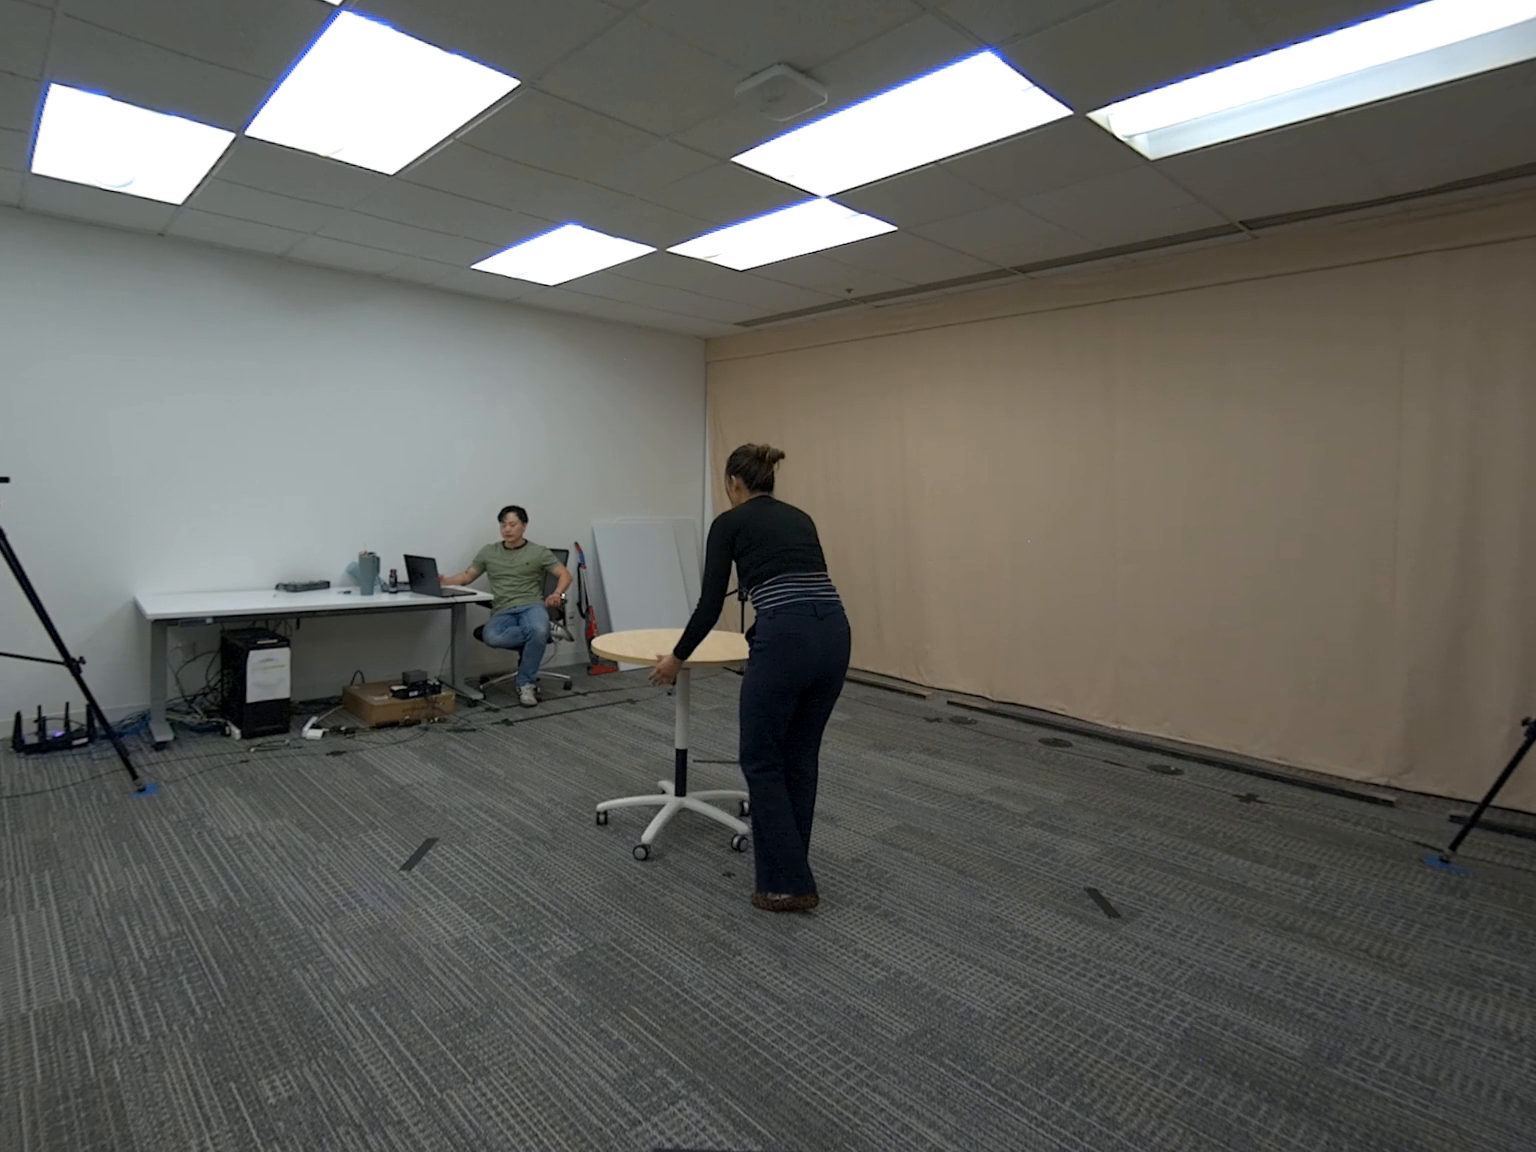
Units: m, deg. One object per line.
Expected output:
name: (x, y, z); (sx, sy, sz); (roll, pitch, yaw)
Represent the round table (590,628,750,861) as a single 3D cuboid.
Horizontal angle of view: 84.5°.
round table: (-0.367, 0.672, 3.513); (0.763, 0.792, 0.767); (2, 4, -1)
